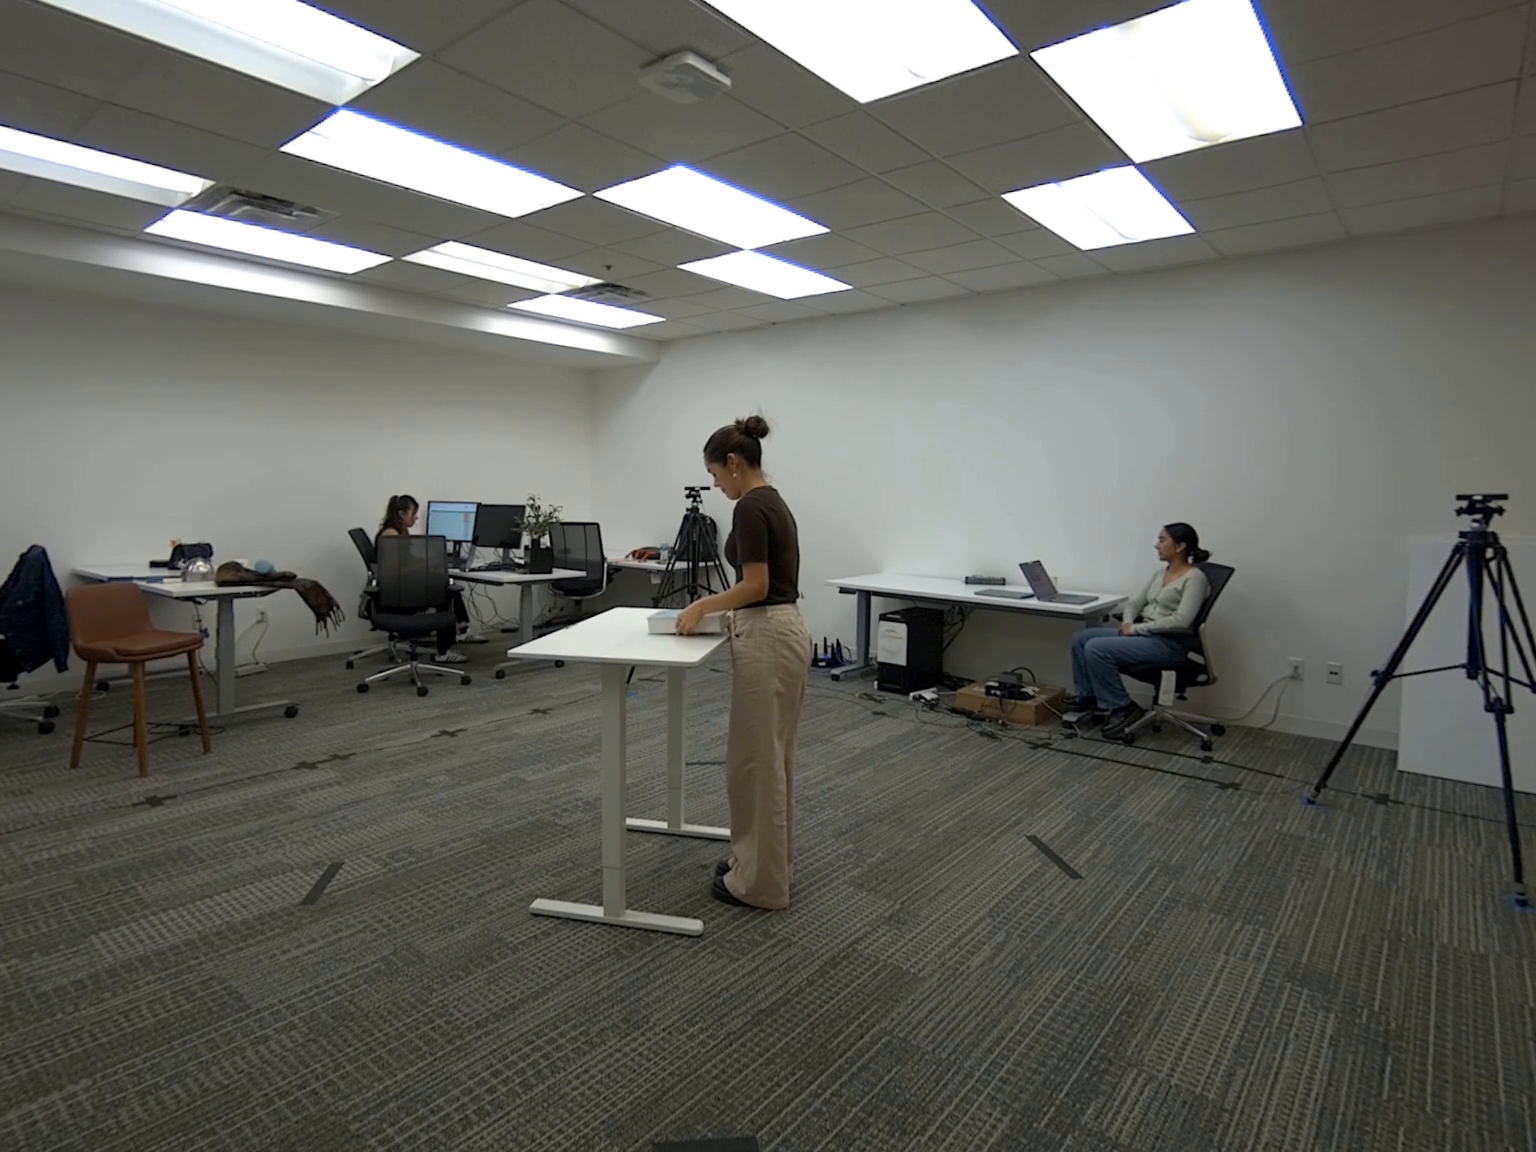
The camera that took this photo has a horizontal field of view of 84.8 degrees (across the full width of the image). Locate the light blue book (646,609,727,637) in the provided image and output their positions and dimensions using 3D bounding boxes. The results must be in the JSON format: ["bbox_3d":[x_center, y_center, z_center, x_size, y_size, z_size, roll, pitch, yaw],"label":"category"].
[{"bbox_3d":[-0.289,0.158,2.995,0.264,0.059,0.190,-2,5,11],"label":"light blue book"}]
